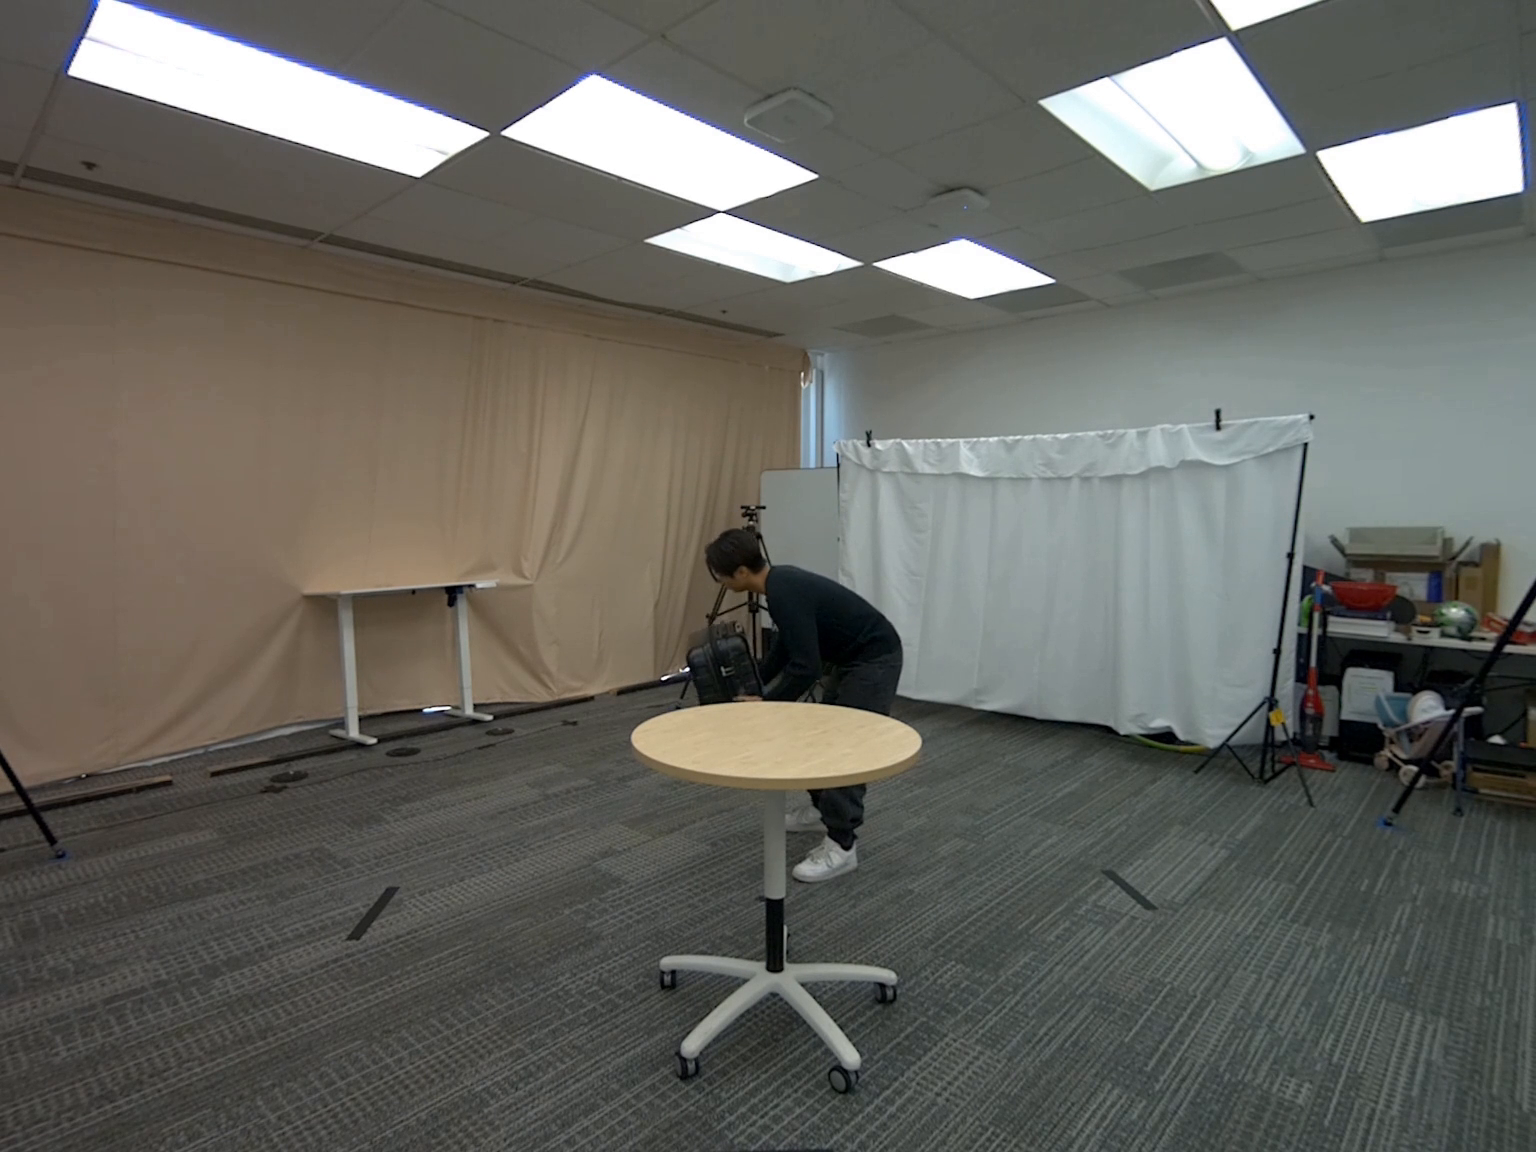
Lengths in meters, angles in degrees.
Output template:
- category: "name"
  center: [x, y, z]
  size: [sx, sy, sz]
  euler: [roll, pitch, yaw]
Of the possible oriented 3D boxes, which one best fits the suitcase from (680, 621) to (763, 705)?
- category: "suitcase"
  center: [-0.134, 0.469, 3.373]
  size: [0.248, 0.545, 0.379]
  euler: [-17, 9, -1]
